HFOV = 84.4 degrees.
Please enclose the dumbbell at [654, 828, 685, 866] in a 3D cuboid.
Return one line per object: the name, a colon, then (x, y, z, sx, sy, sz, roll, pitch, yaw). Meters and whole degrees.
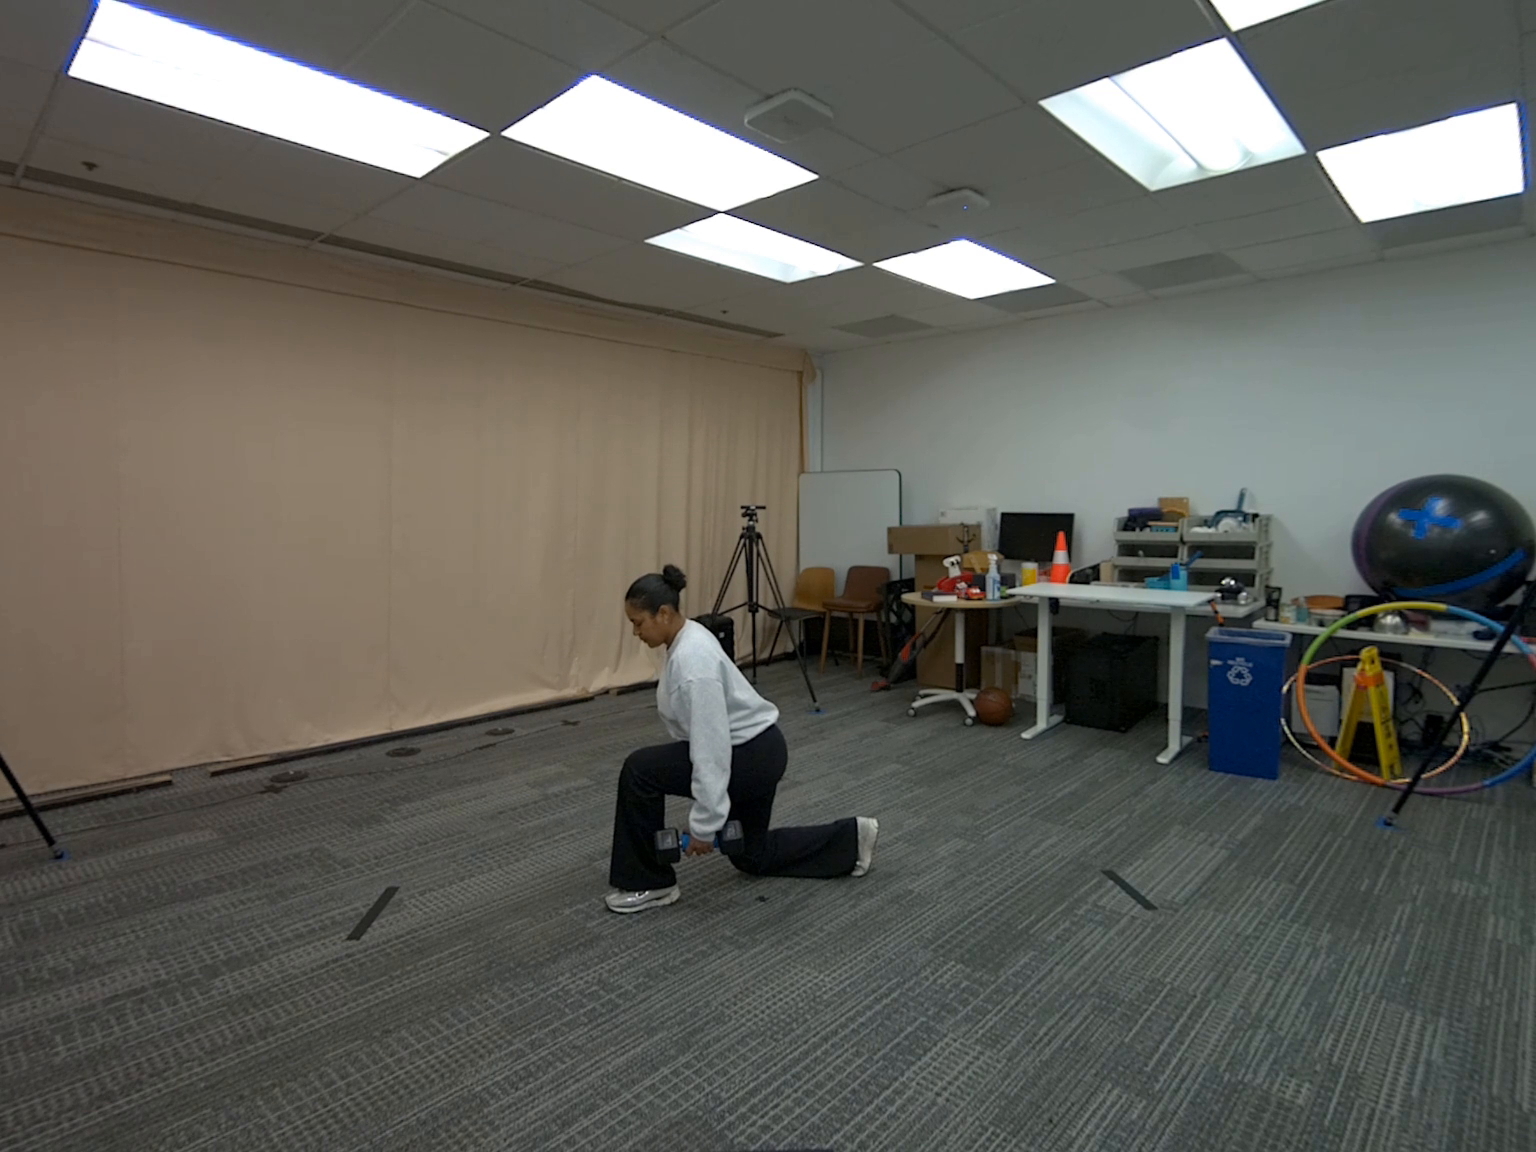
dumbbell: (-0.230, 0.887, 2.802, 0.292, 0.121, 0.110, -5, 19, -5)
